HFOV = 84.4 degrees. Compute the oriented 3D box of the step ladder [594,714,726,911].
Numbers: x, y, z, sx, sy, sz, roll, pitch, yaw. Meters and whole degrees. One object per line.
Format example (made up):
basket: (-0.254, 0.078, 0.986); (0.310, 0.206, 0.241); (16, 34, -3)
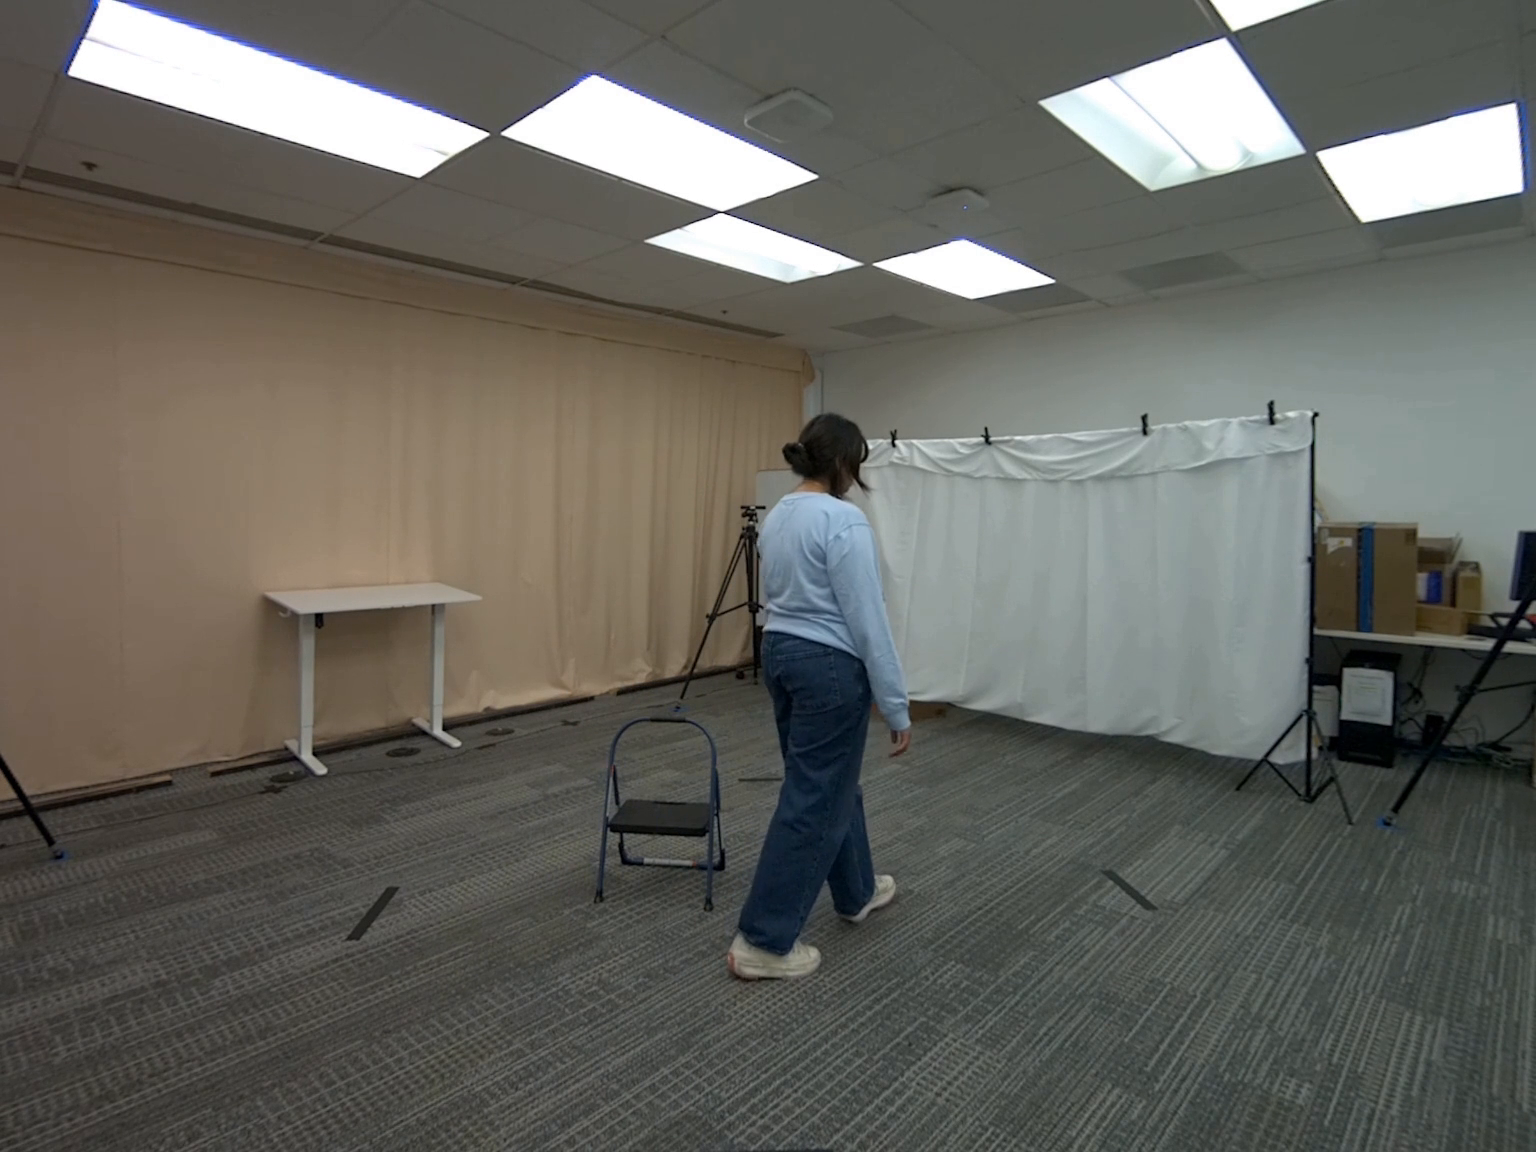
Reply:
step ladder: (-0.387, 0.835, 3.091); (0.435, 0.605, 0.346); (0, 3, 8)
